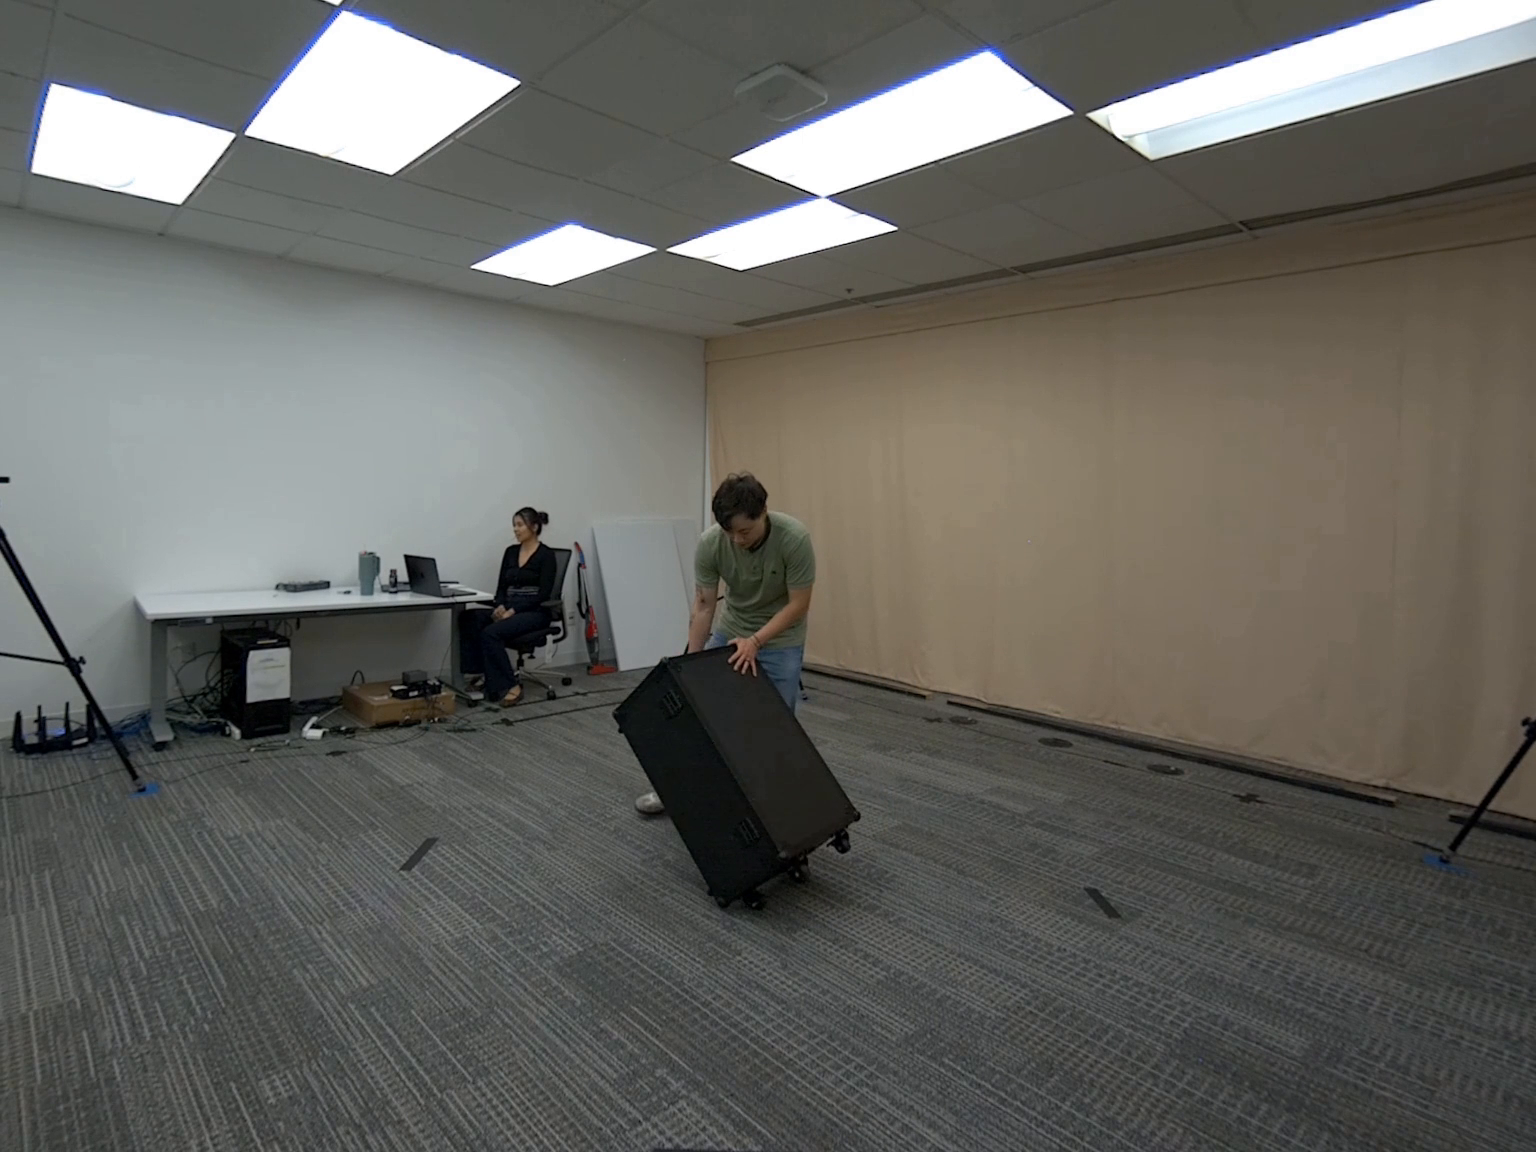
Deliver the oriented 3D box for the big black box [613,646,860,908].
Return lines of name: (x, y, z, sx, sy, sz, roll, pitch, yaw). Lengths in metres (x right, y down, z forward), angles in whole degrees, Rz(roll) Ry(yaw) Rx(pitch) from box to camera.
big black box: (-0.121, 0.725, 3.044, 0.510, 0.880, 0.396, -5, -37, -54)
